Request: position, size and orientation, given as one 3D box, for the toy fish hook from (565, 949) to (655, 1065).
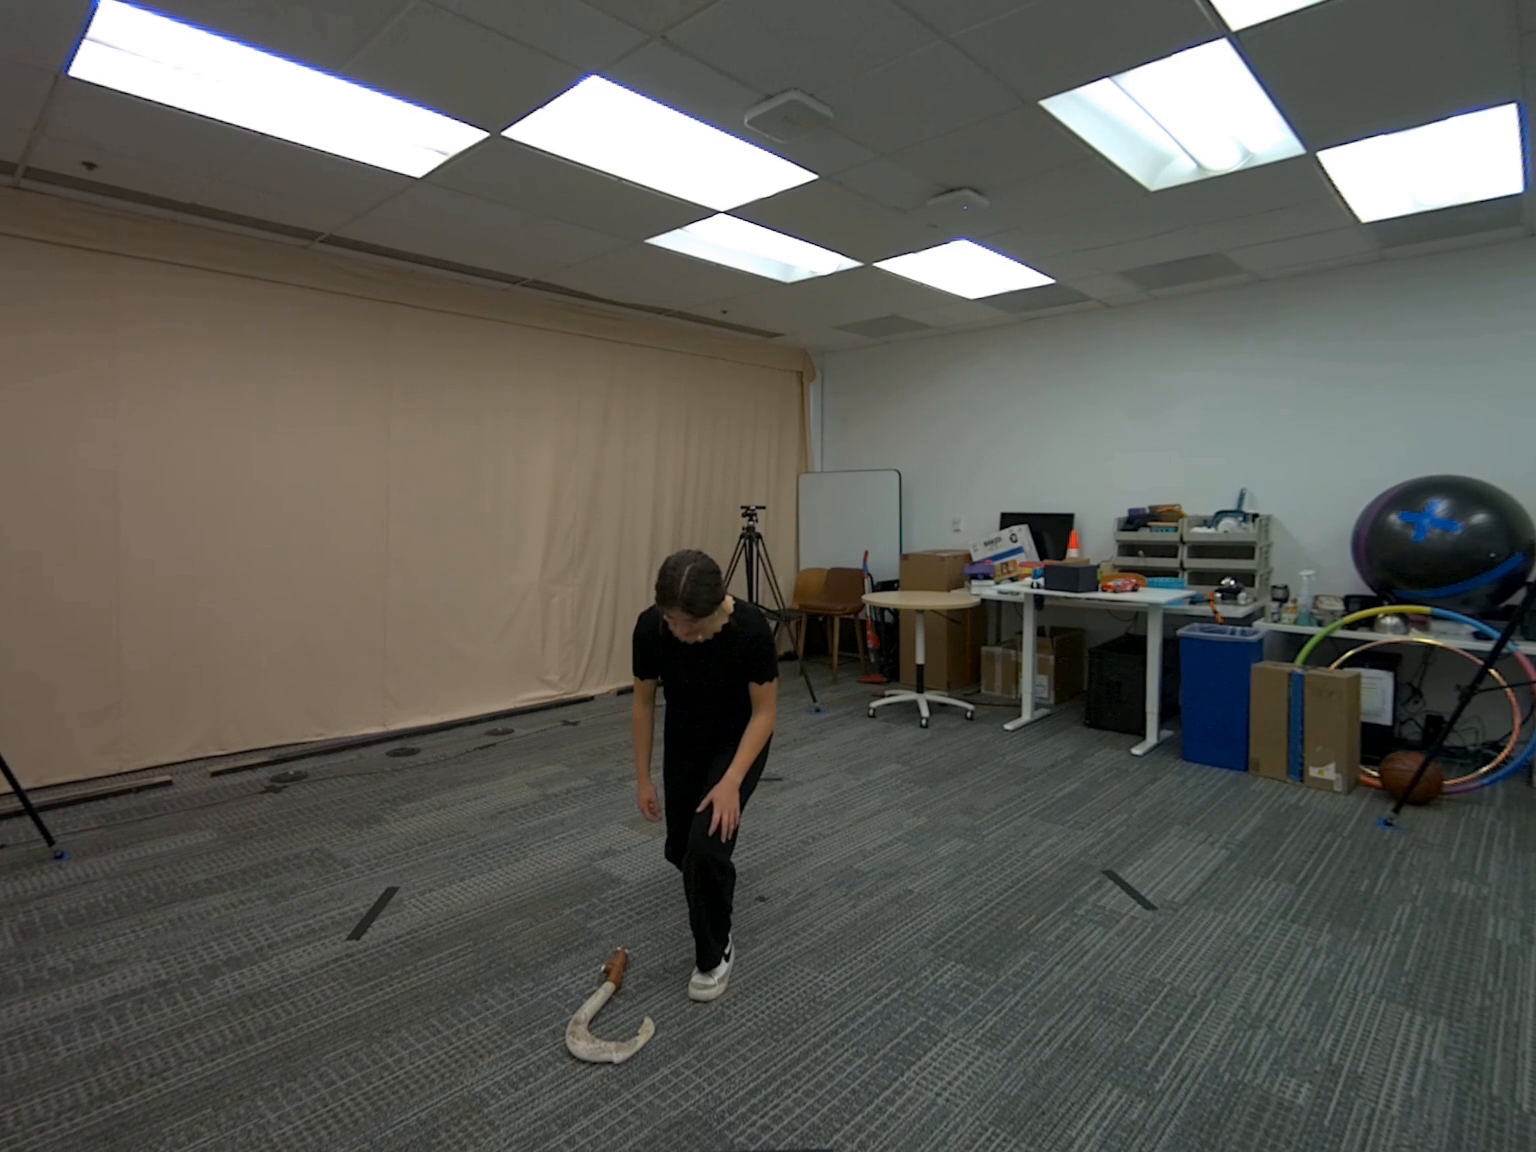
[{"bbox_3d":[-0.407,1.184,2.340,0.226,0.048,0.505,7,6,2],"label":"toy fish hook"}]
